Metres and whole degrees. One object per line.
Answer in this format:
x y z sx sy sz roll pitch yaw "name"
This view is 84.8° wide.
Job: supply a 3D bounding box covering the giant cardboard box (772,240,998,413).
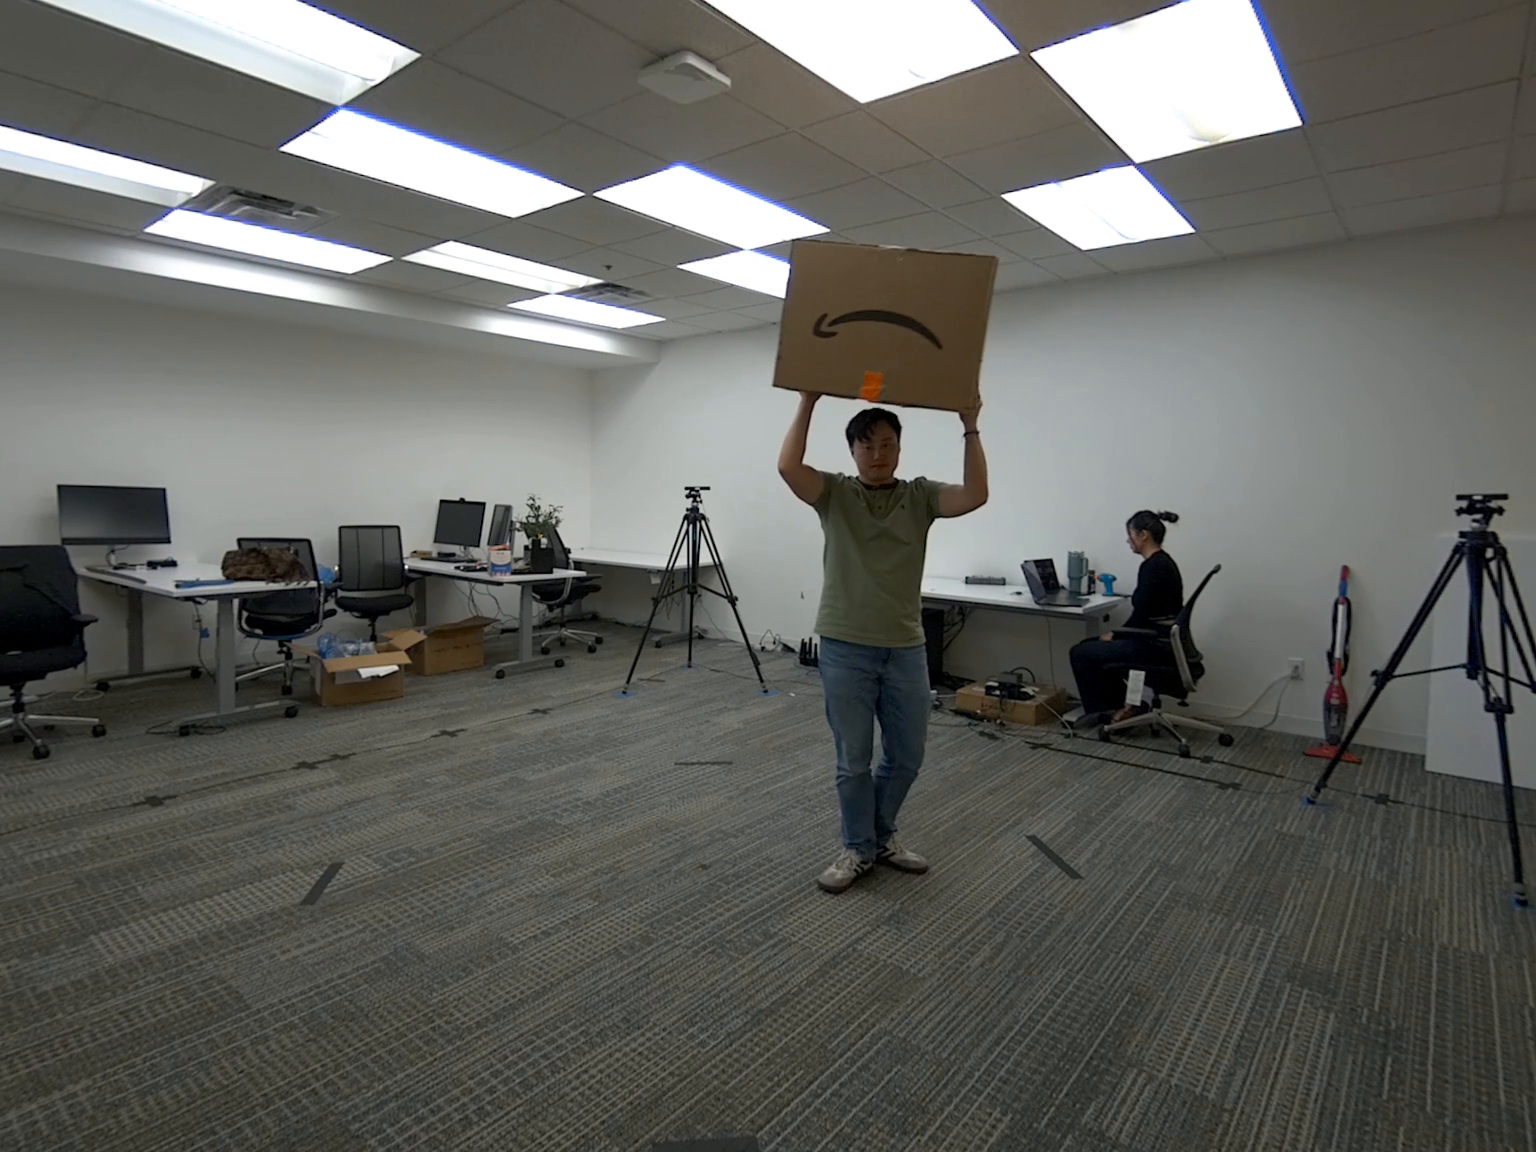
0.421 -0.814 2.869 0.587 0.421 1.021 11 15 12 "giant cardboard box"
